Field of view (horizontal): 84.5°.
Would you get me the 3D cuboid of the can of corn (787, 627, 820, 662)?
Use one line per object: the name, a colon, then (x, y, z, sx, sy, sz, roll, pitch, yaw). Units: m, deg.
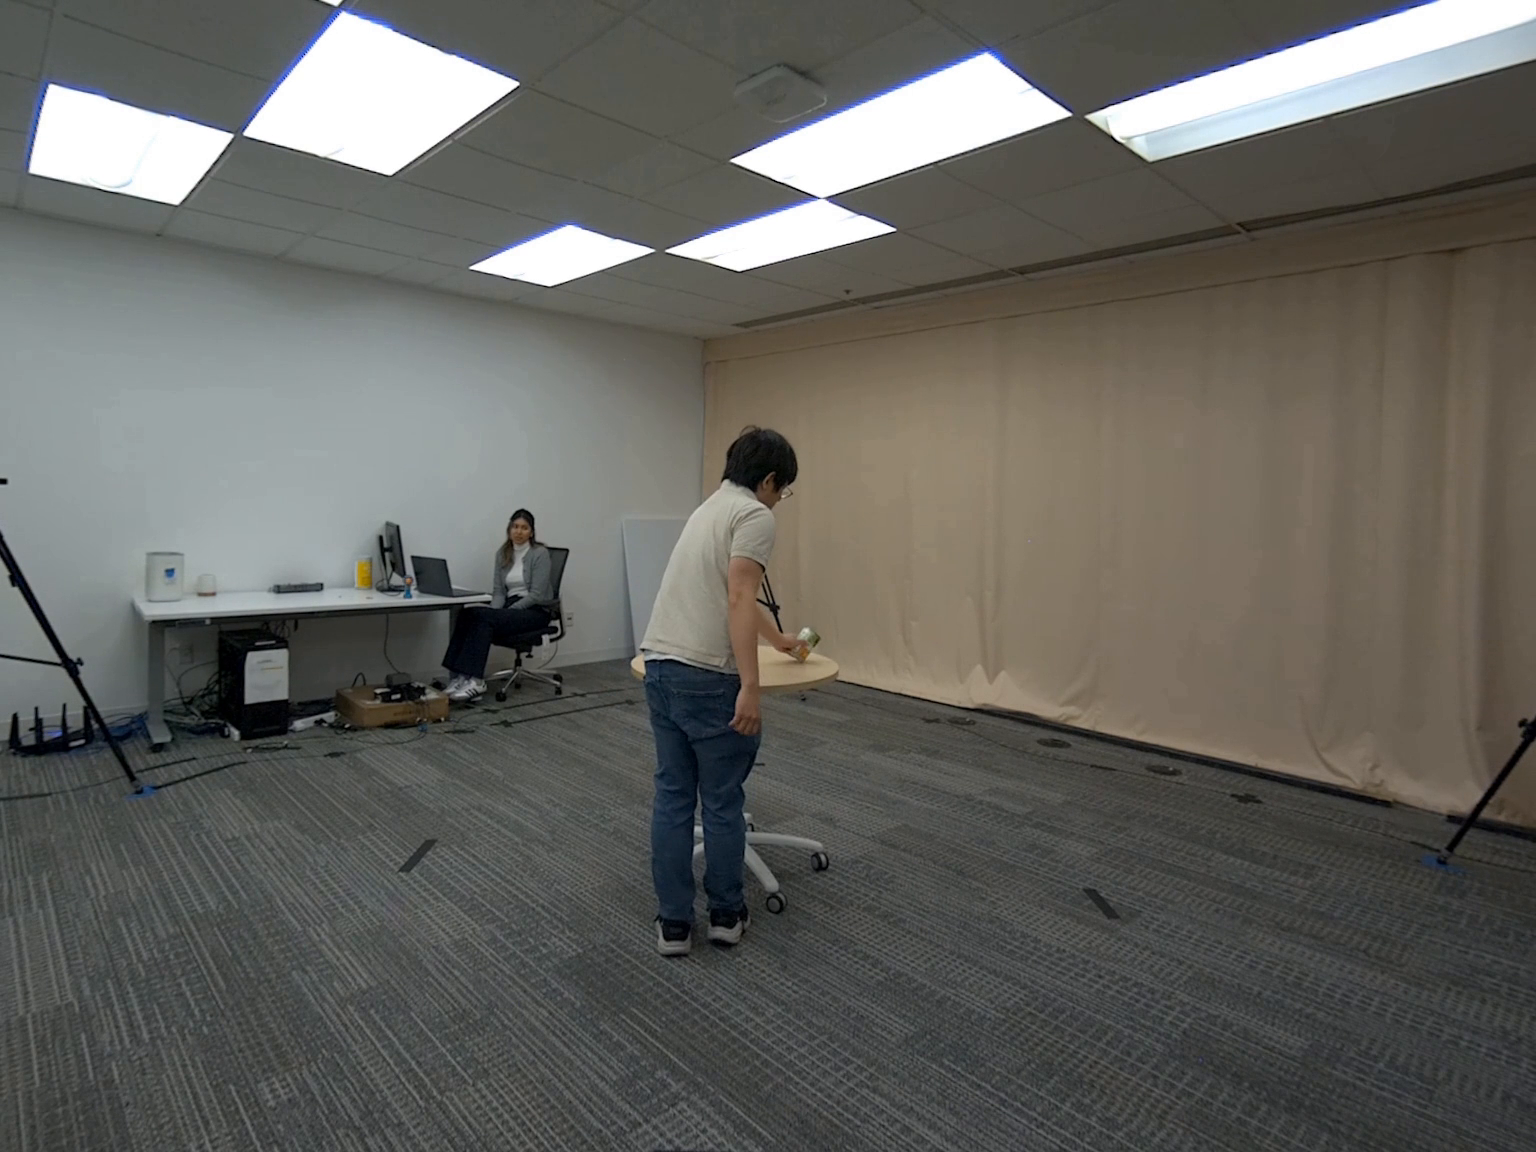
can of corn: (0.120, 0.251, 3.156, 0.074, 0.111, 0.074, 28, -6, 2)
